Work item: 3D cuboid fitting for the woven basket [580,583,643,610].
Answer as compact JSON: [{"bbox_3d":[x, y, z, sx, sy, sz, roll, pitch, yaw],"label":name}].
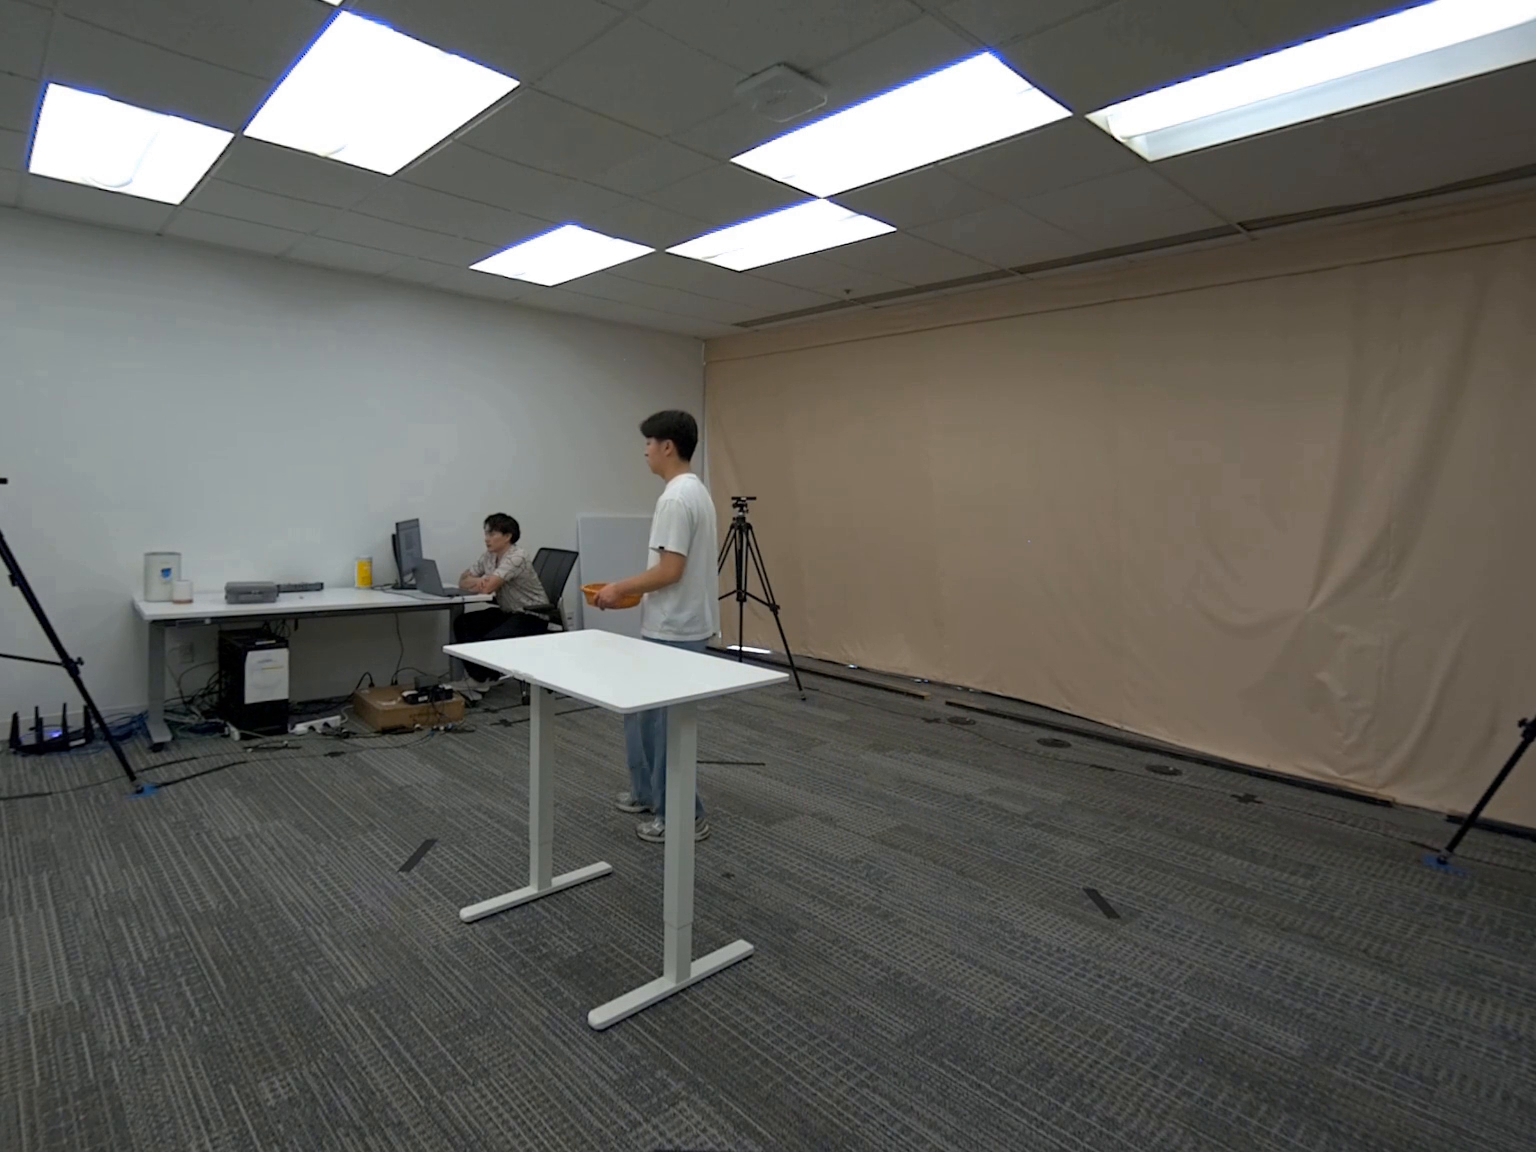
[{"bbox_3d":[-0.633,0.077,3.555,0.343,0.073,0.259,-4,7,-39],"label":"woven basket"}]
